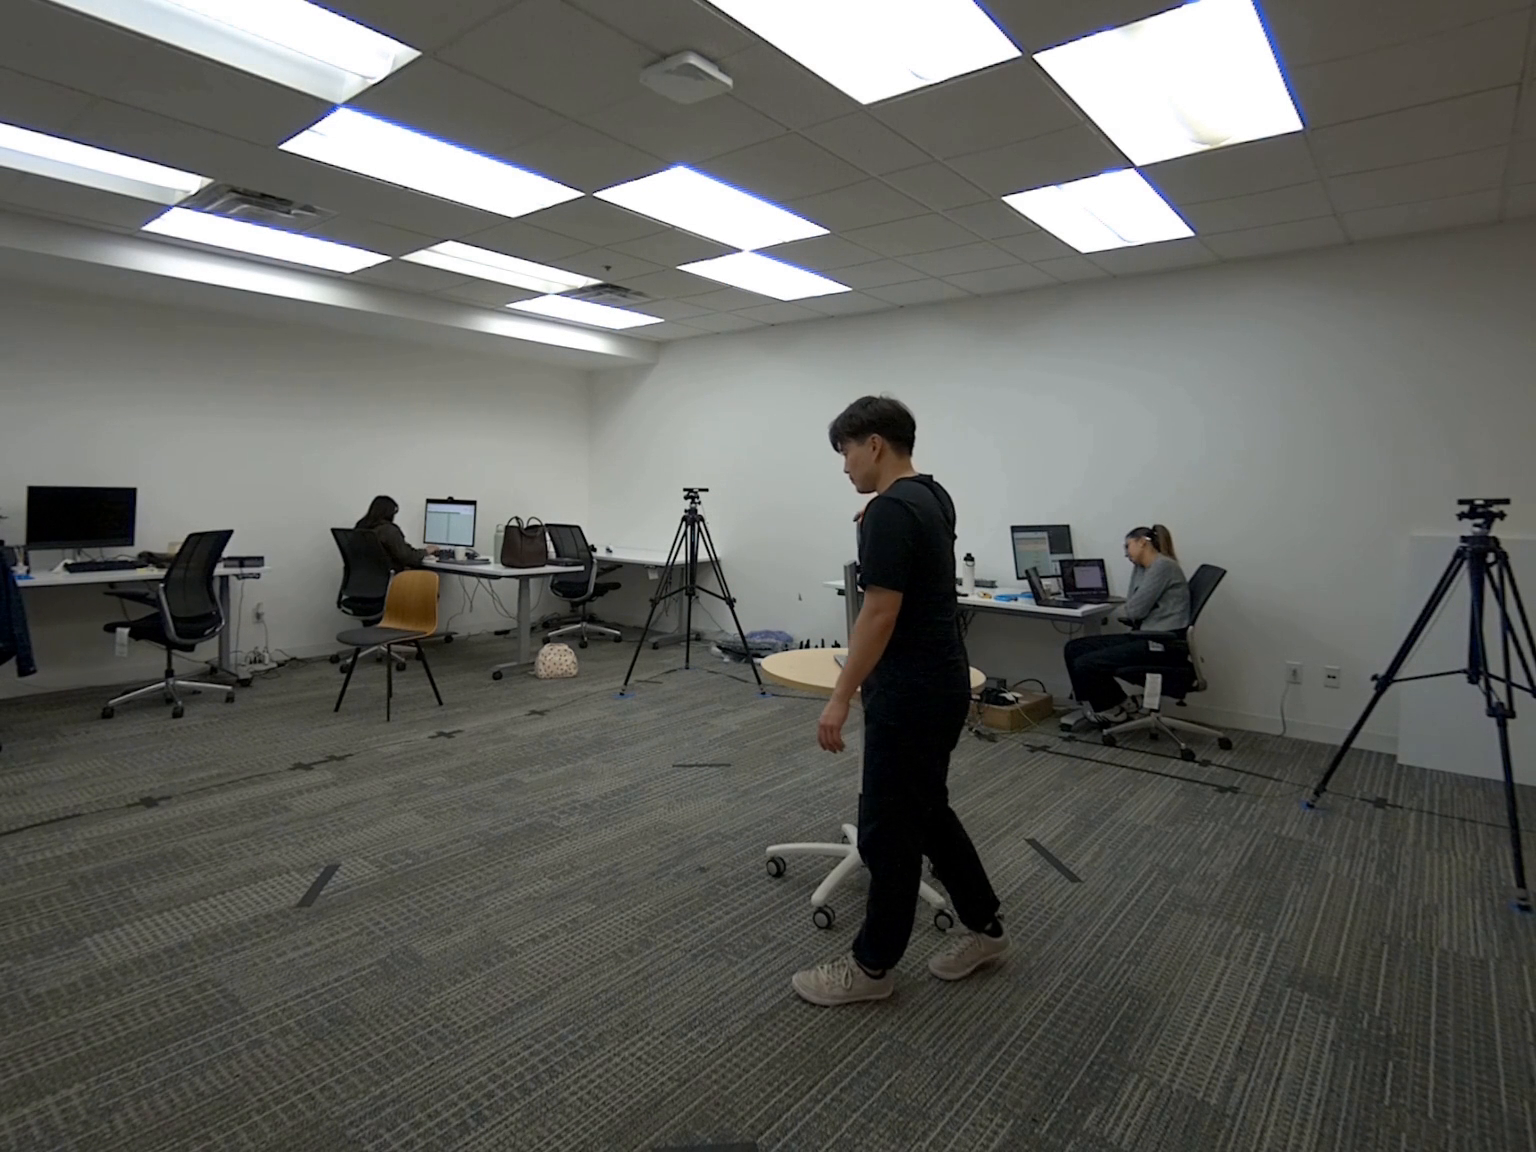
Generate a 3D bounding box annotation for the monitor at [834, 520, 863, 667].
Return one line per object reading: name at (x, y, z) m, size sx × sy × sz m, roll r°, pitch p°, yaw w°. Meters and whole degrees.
monitor at (0.348, 0.053, 2.999) m, size 0.186 × 0.521 × 0.544 m, roll 3°, pitch 5°, yaw -6°
